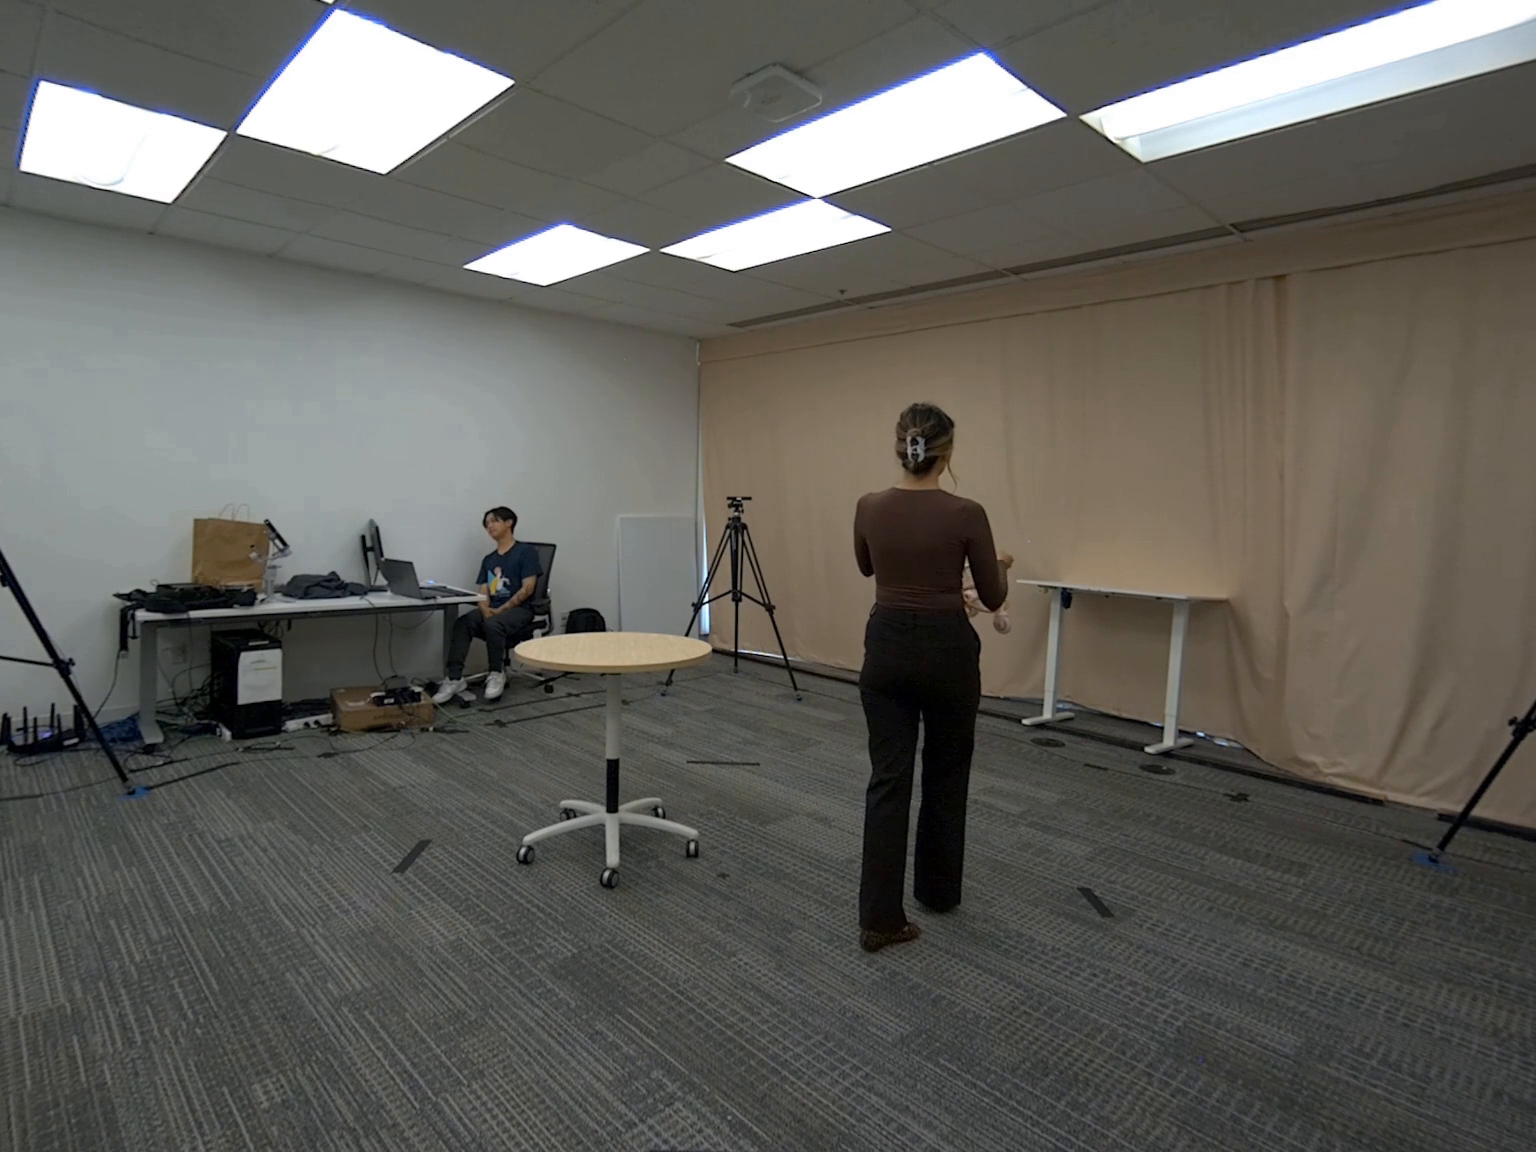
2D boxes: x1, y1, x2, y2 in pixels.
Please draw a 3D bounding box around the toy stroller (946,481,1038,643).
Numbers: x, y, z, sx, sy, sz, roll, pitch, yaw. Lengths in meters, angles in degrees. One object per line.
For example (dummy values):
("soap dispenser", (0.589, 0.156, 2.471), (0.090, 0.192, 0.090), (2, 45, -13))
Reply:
("toy stroller", (0.700, -0.037, 3.102), (0.276, 0.537, 0.346), (-8, -5, -32))
